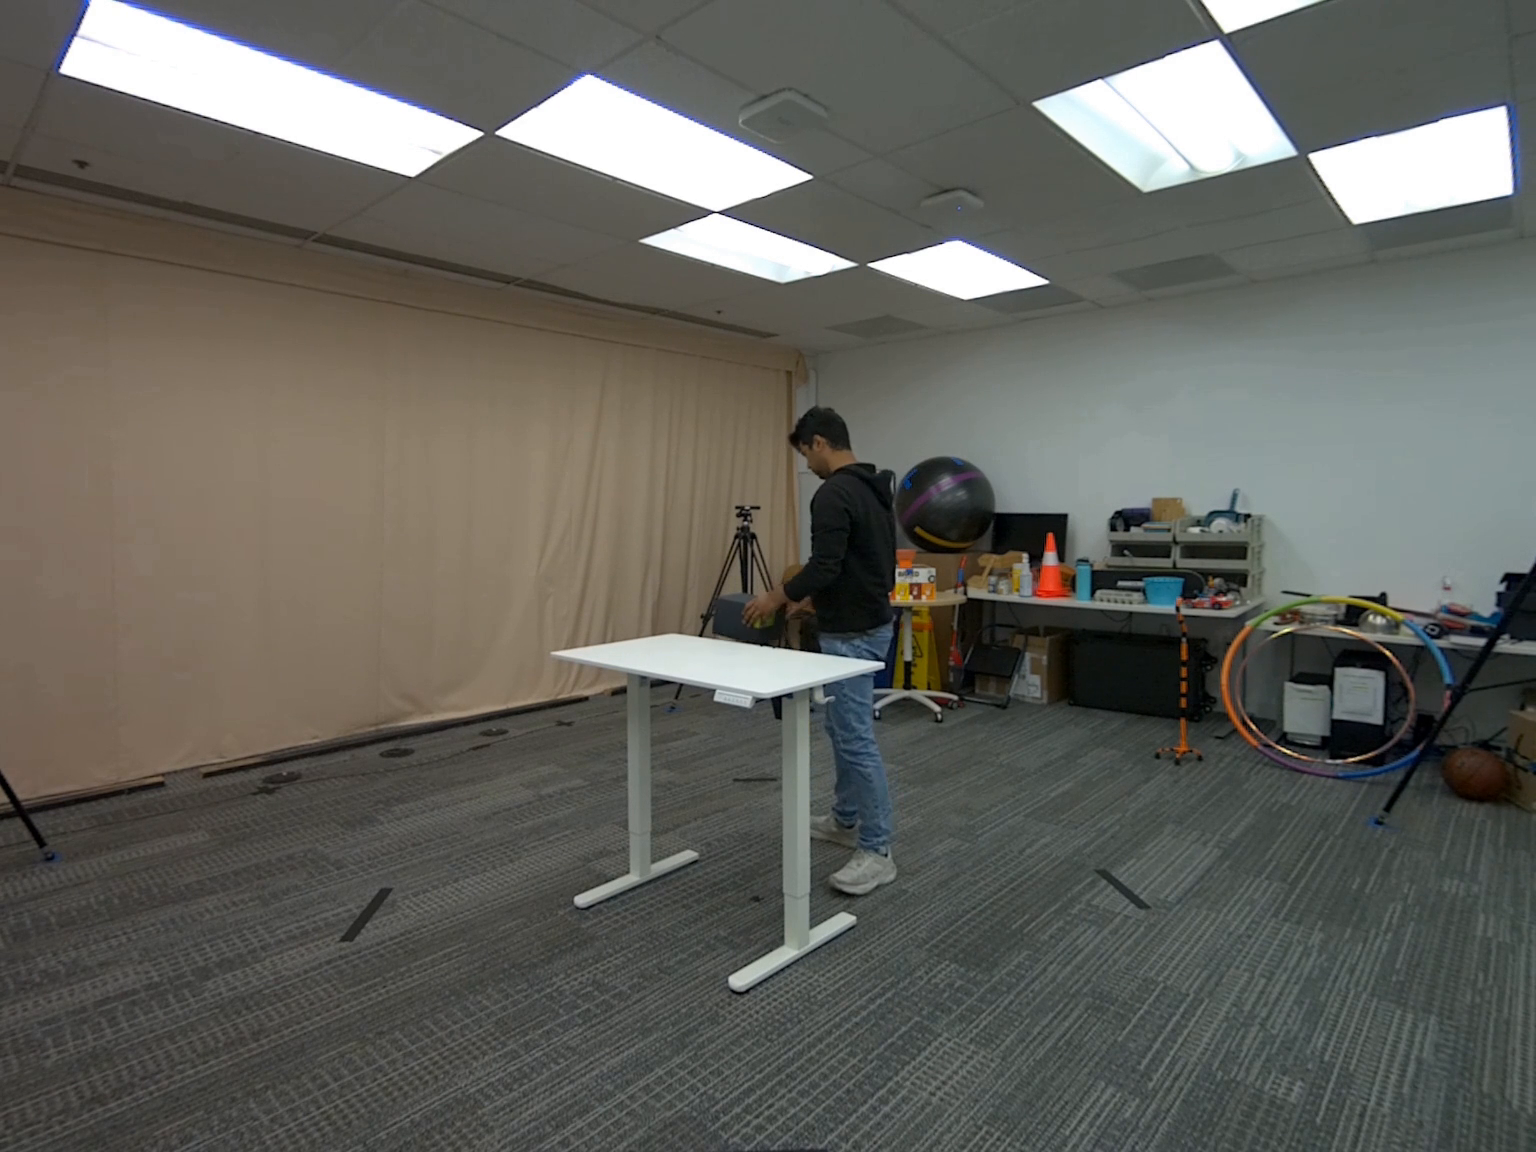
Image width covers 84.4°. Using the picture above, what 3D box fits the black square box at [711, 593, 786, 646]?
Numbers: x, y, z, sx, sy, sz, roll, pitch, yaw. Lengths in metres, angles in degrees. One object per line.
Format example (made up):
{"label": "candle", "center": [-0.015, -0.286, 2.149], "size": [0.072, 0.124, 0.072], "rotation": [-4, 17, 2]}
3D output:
{"label": "black square box", "center": [-0.075, 0.180, 3.471], "size": [0.222, 0.155, 0.223], "rotation": [10, 8, 22]}
